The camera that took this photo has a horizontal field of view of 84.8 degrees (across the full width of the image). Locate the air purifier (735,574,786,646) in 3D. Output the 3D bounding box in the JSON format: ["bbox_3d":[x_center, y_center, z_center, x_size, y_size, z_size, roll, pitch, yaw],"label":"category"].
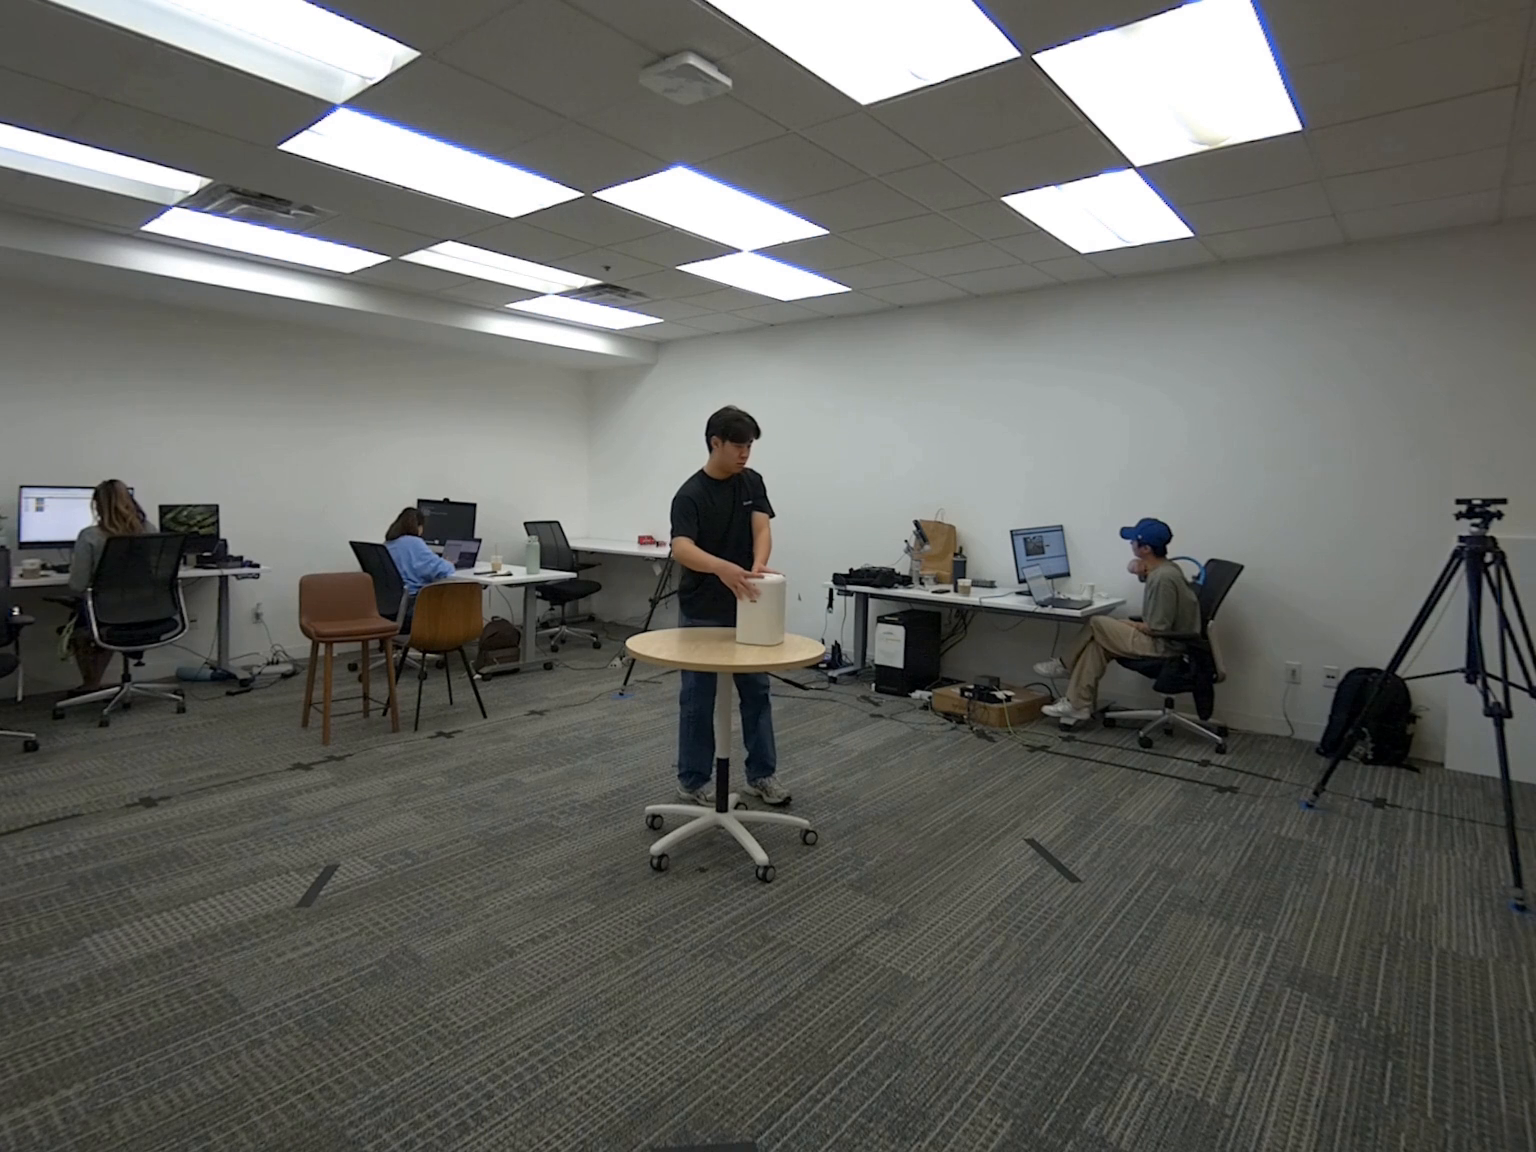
[{"bbox_3d":[-0.041,0.121,3.336,0.175,0.264,0.169,2,5,20],"label":"air purifier"}]
